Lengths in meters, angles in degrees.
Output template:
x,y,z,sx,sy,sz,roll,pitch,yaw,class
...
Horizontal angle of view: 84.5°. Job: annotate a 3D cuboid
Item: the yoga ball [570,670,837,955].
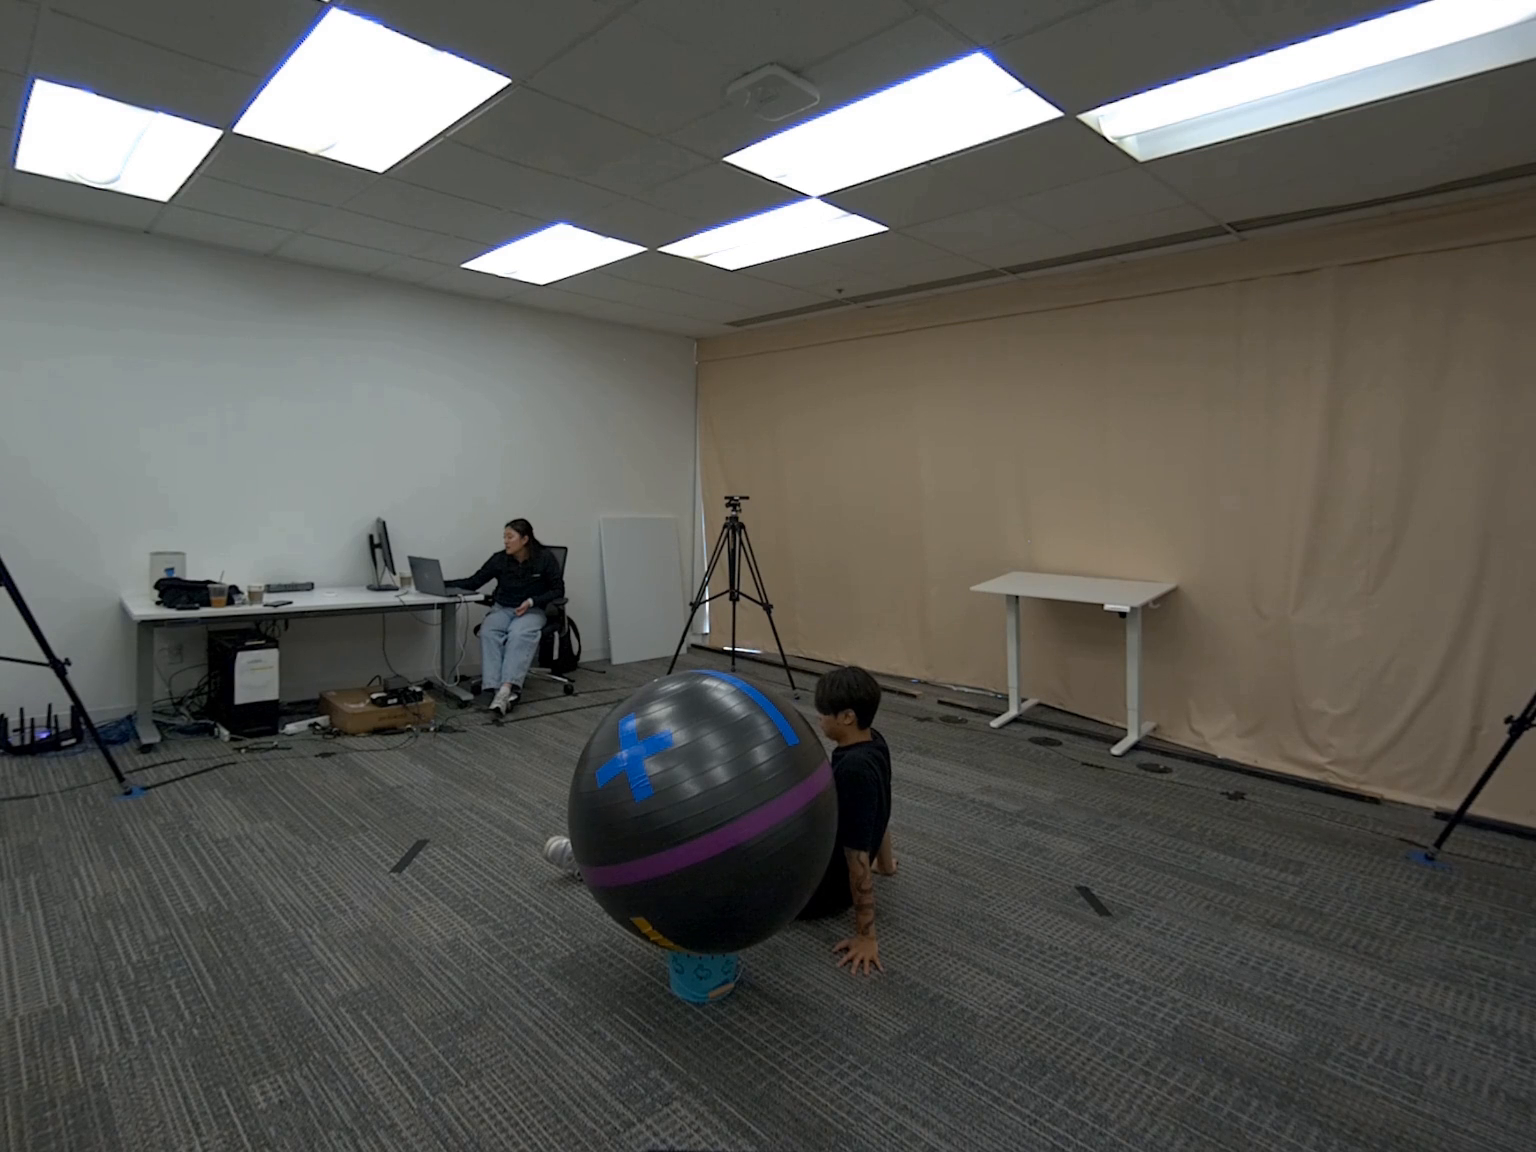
x,y,z,sx,sy,sz,roll,pitch,yaw,class
-0.186,0.663,2.373,0.757,0.756,0.761,1,4,-1,yoga ball
